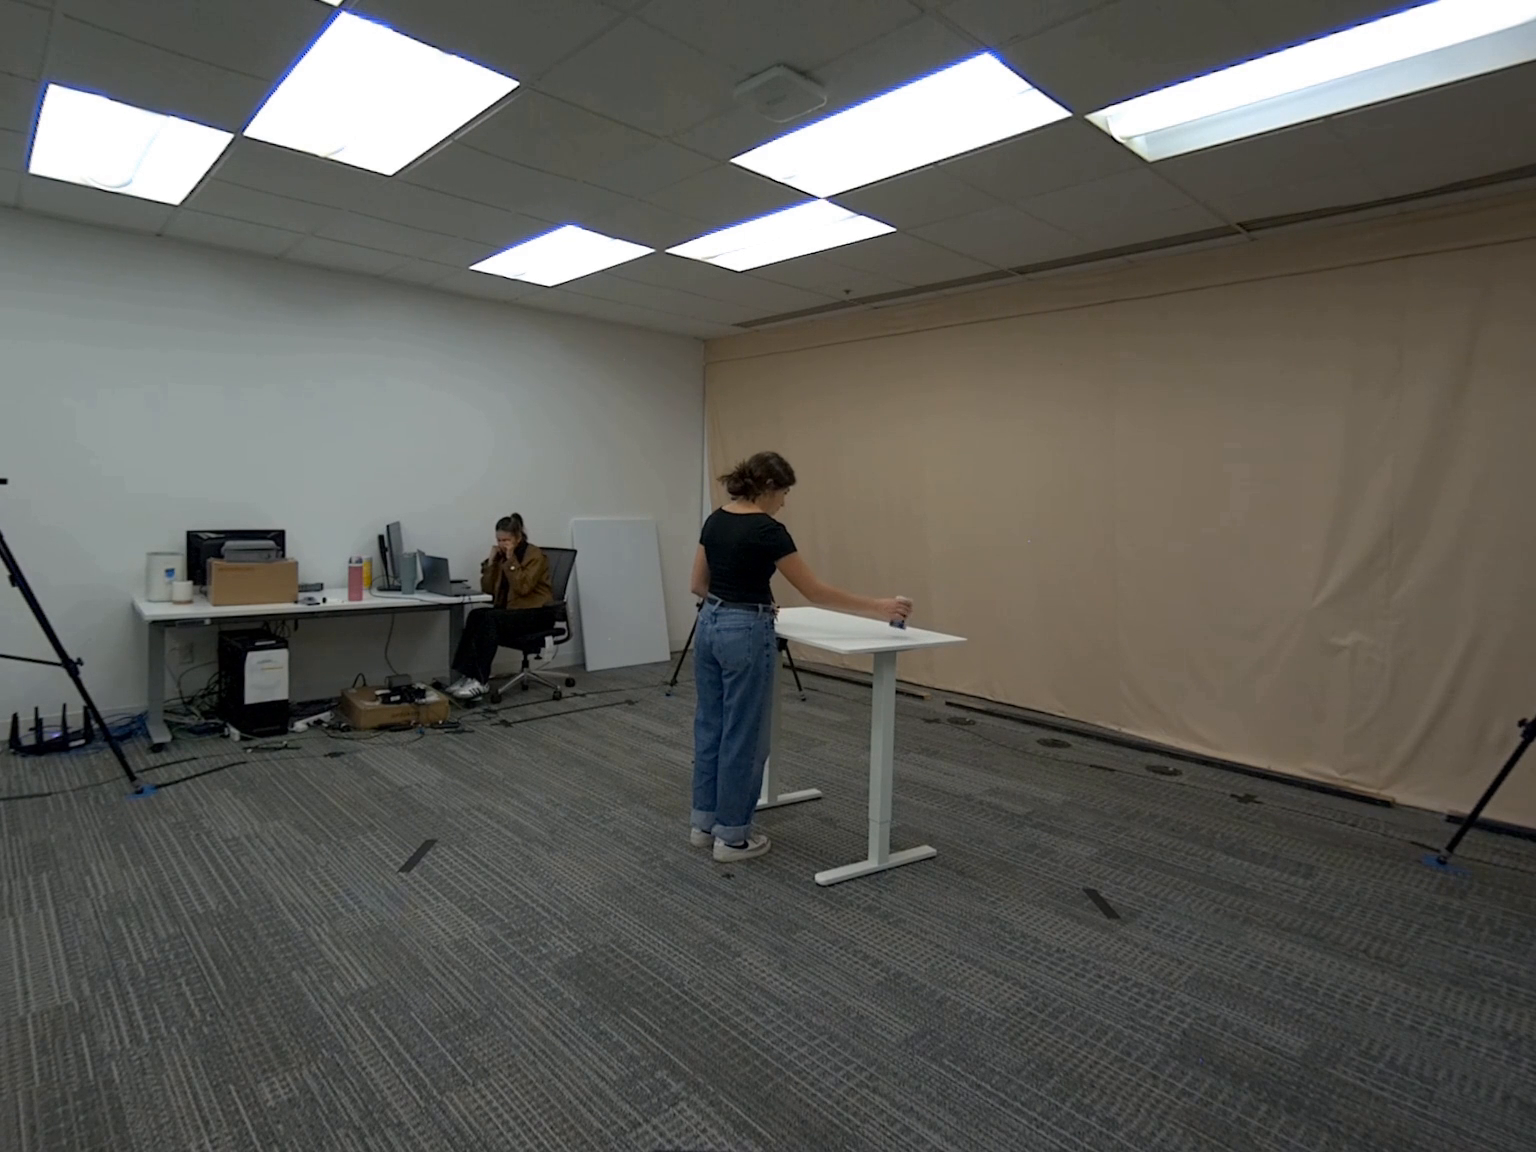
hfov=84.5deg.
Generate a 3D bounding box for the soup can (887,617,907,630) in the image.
[{"bbox_3d":[0.497,0.141,3.193,0.067,0.121,0.067,14,-1,-1],"label":"soup can"}]
